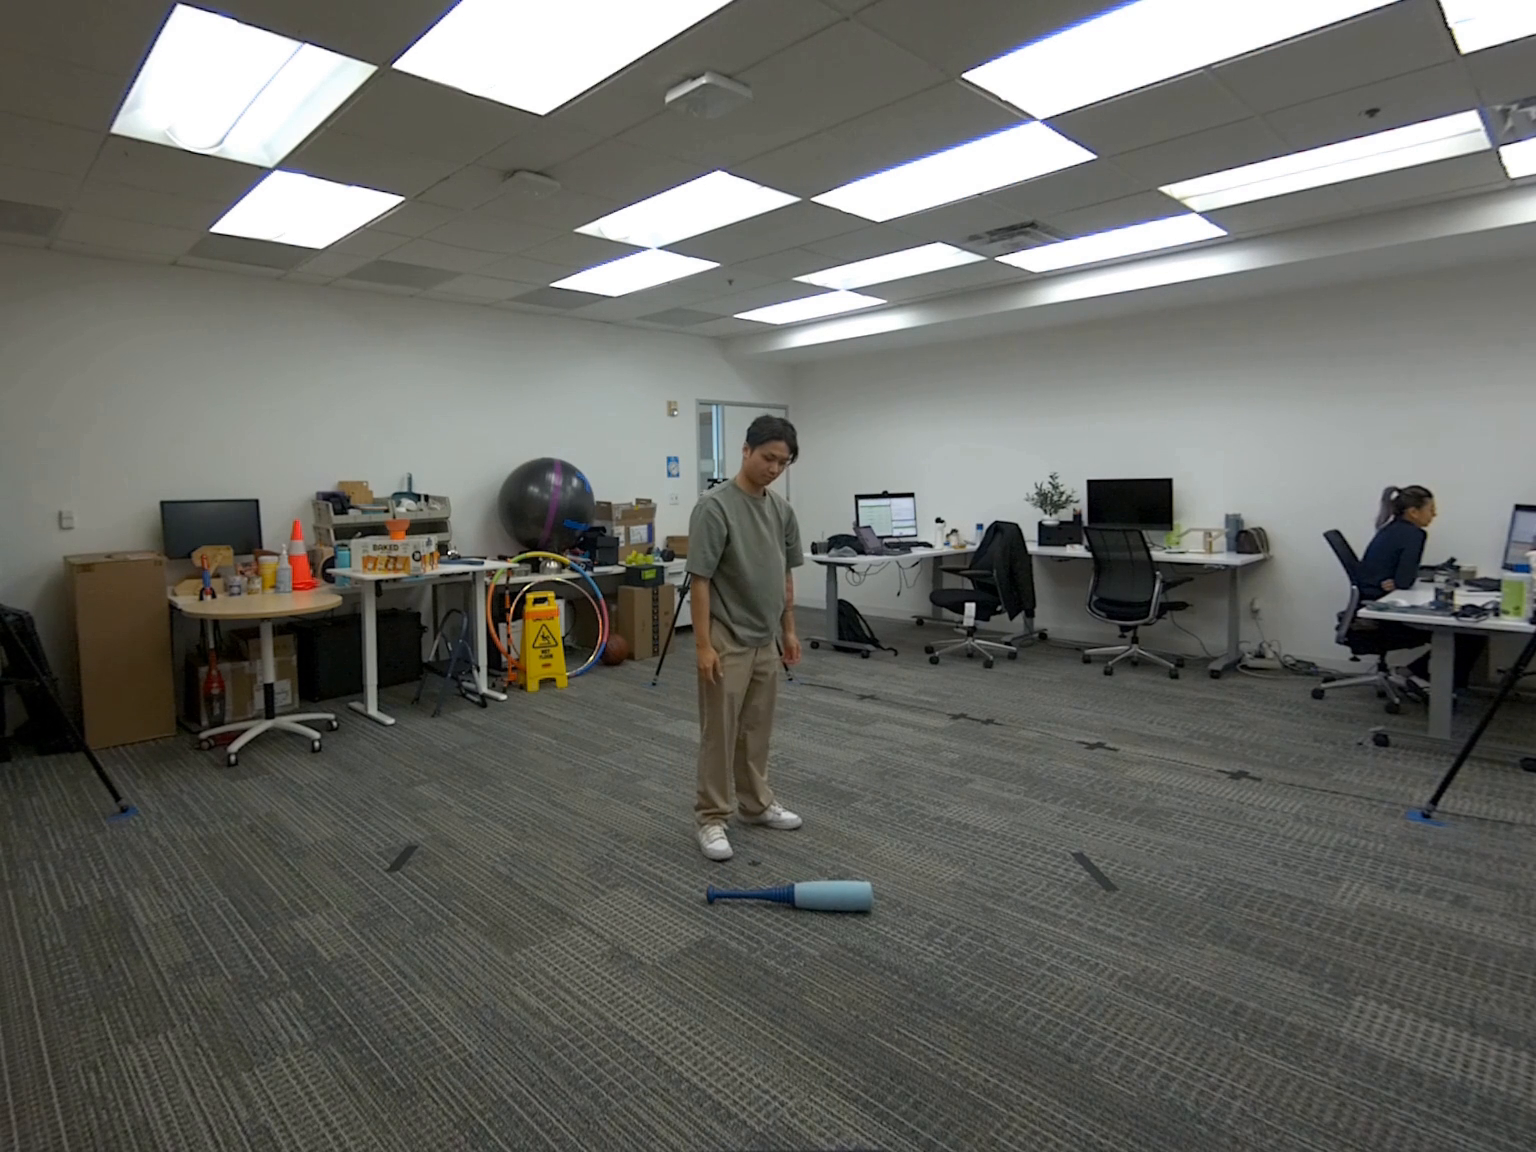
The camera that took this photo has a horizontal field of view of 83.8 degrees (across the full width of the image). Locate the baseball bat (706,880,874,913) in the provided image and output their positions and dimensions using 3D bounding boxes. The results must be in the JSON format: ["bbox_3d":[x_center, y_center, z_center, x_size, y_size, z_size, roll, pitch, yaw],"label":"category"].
[{"bbox_3d":[0.073,1.041,2.784,0.547,0.089,0.089,-3,5,8],"label":"baseball bat"}]
